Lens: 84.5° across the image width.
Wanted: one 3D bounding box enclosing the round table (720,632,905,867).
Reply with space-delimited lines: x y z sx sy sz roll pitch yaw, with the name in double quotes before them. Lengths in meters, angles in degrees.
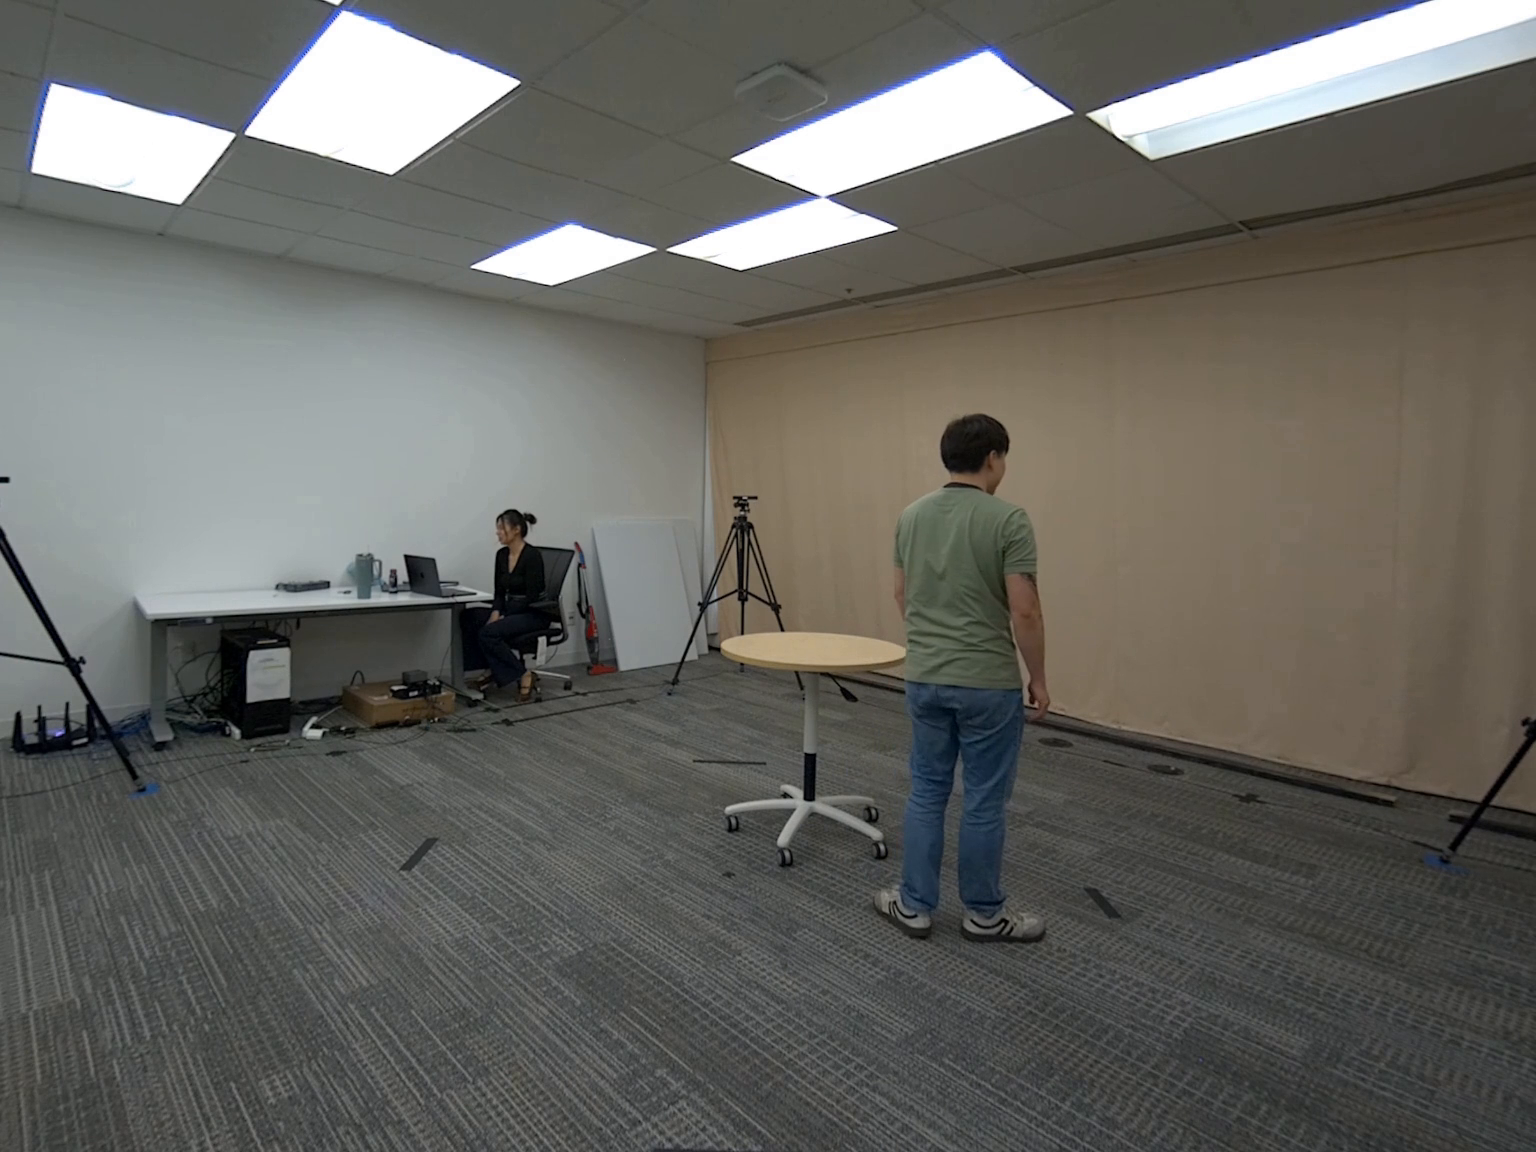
"round table" 0.173 0.687 3.498 0.763 0.792 0.766 1 4 -1
